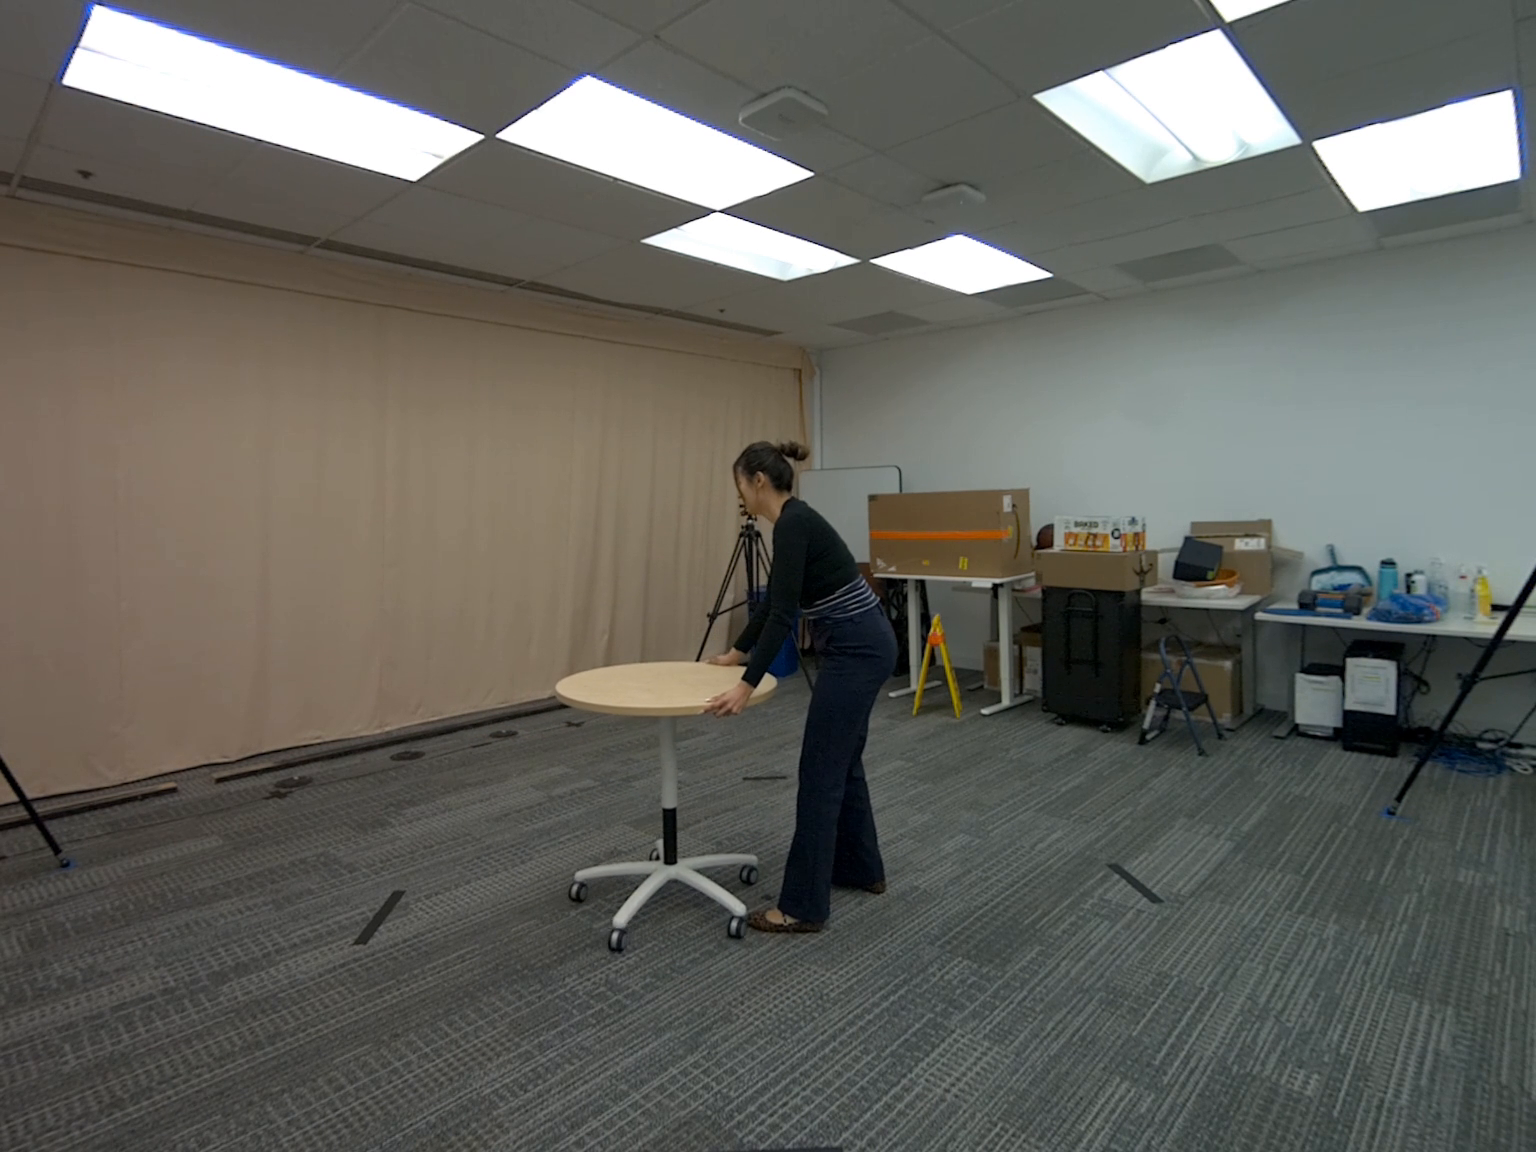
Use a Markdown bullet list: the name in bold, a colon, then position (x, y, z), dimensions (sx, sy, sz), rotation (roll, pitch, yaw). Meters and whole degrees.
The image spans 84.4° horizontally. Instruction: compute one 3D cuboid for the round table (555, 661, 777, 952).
- **round table**: position (-0.341, 0.764, 2.949), dimensions (0.763, 0.792, 0.766), rotation (-1, 4, -2)
